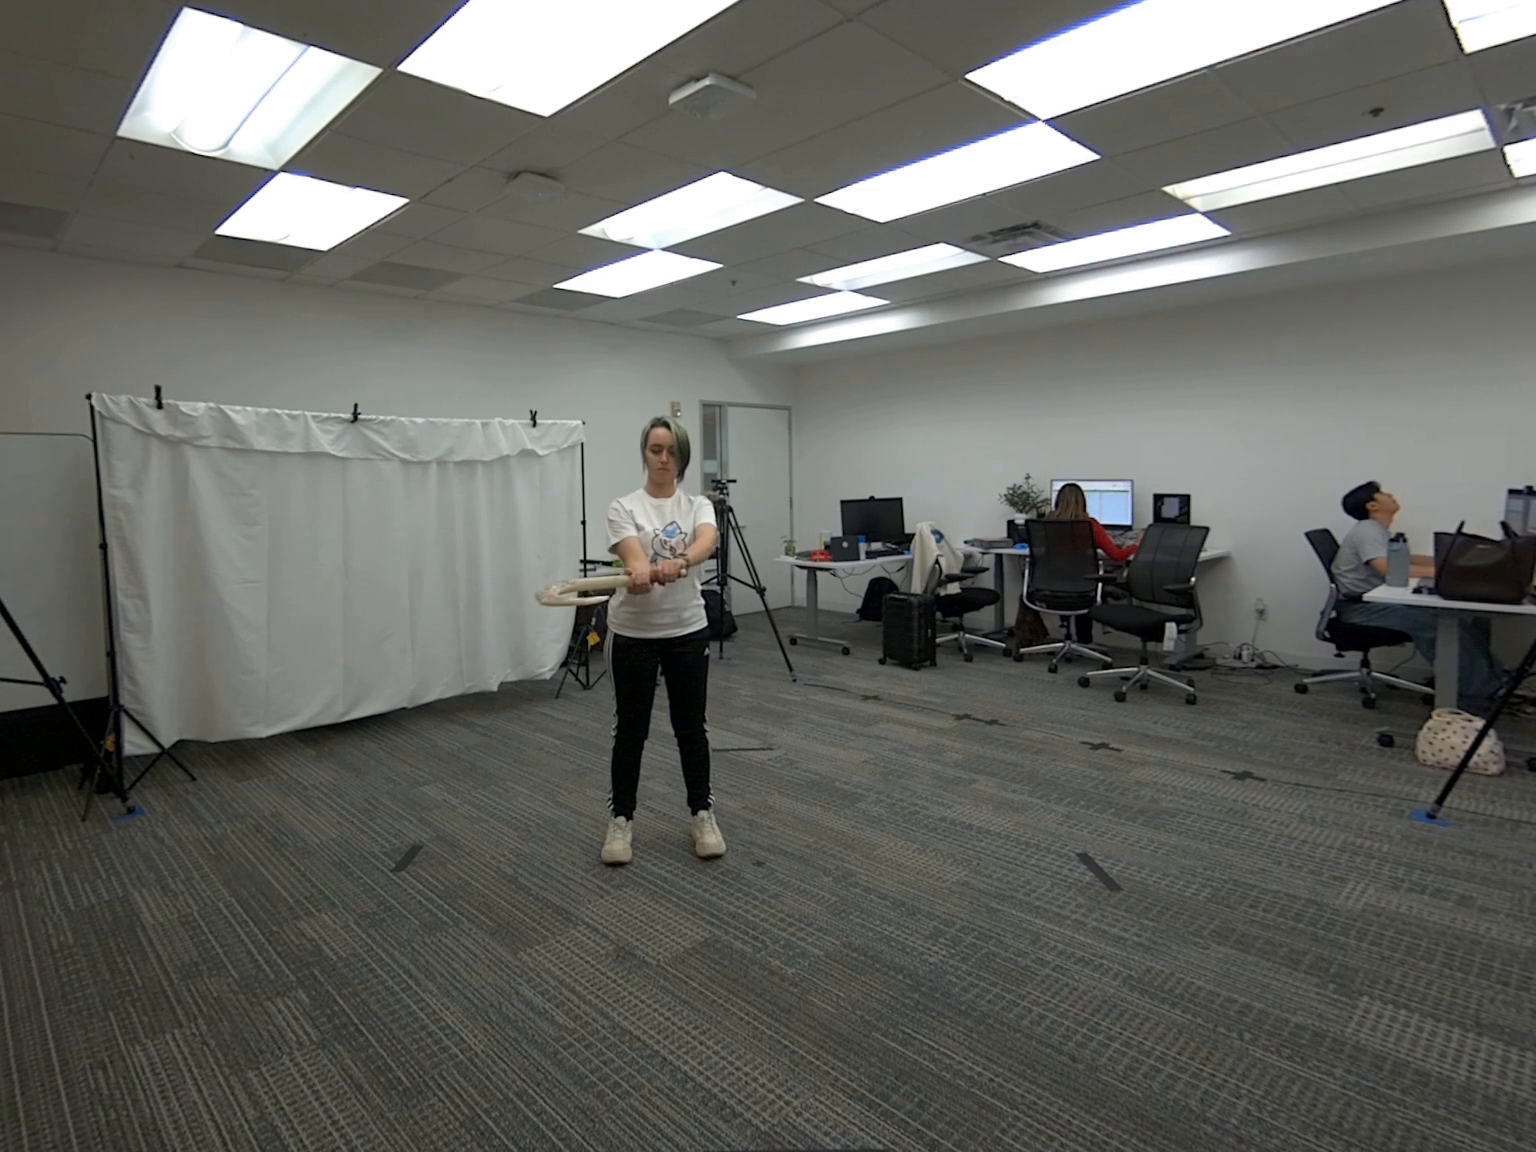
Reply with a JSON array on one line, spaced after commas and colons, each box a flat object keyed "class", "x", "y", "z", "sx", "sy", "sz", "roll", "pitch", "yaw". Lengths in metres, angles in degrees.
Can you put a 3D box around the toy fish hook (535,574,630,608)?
[{"class": "toy fish hook", "x": -0.436, "y": 0.035, "z": 2.645, "sx": 0.498, "sy": 0.047, "sz": 0.232, "roll": -14, "pitch": 22, "yaw": -26}]
